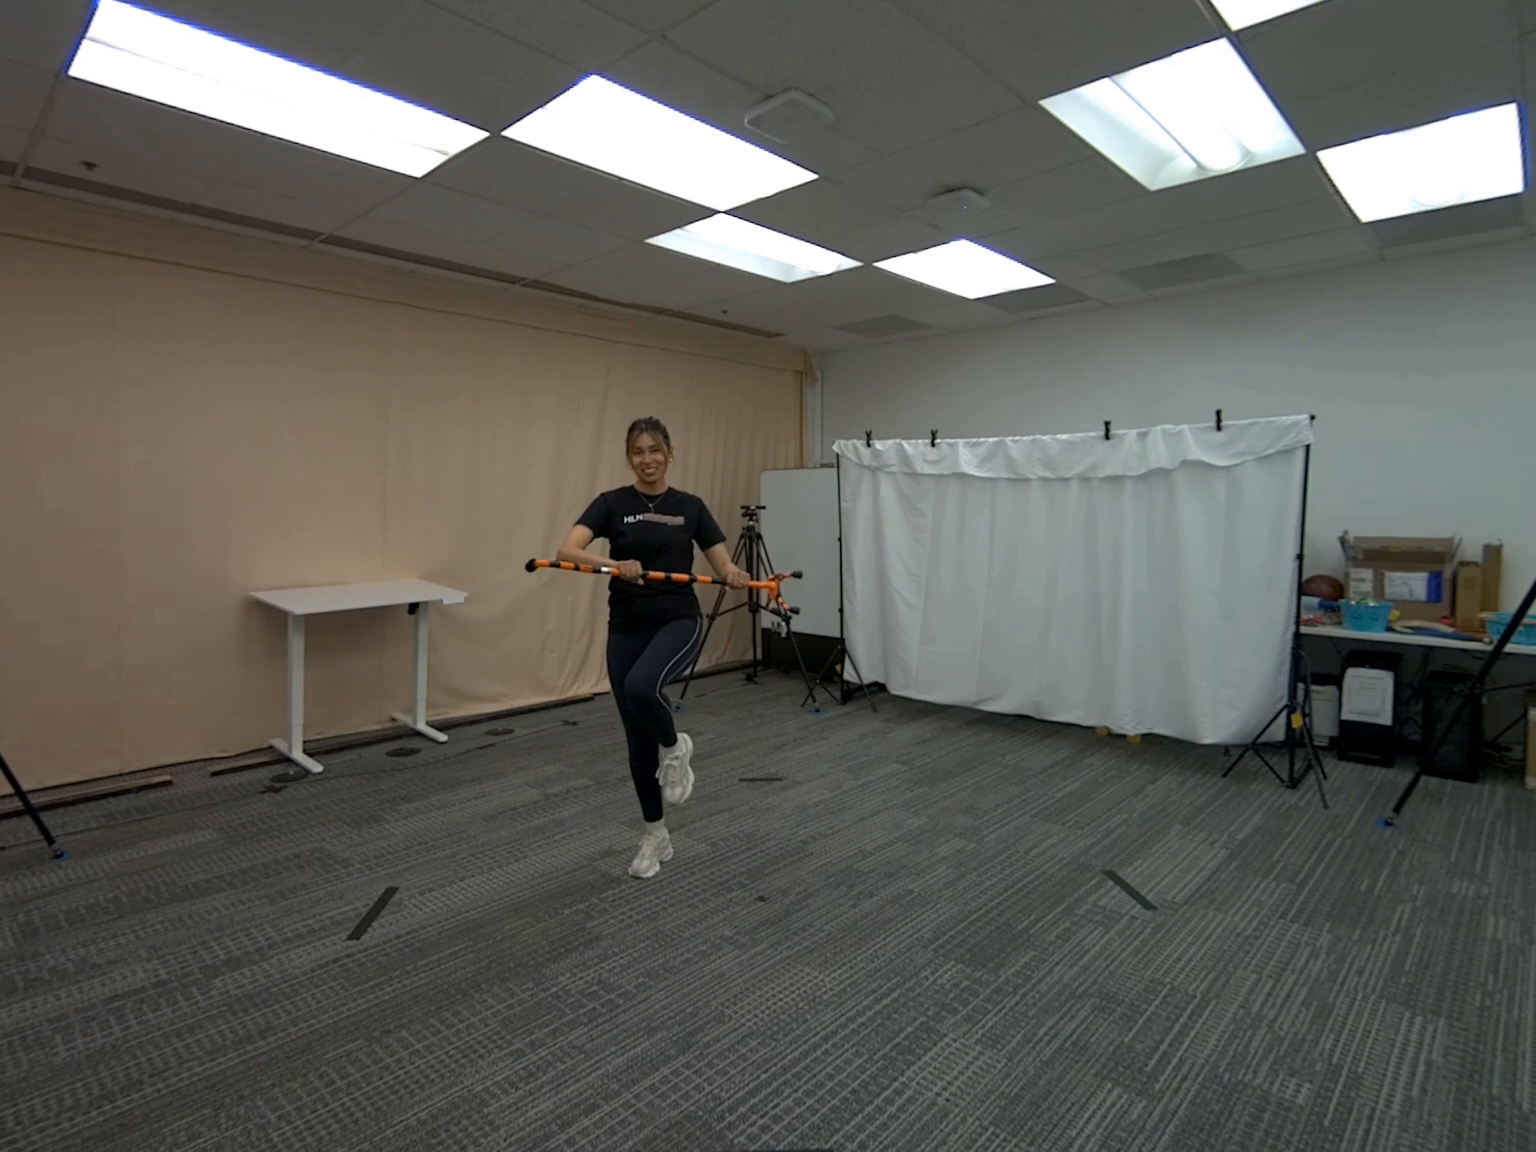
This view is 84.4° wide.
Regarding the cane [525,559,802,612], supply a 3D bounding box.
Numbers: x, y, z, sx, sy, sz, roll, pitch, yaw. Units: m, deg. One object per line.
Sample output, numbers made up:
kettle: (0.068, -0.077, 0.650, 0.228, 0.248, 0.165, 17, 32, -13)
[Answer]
cane: (-0.355, 0.024, 2.787, 0.902, 0.152, 0.207, 7, -4, -6)
